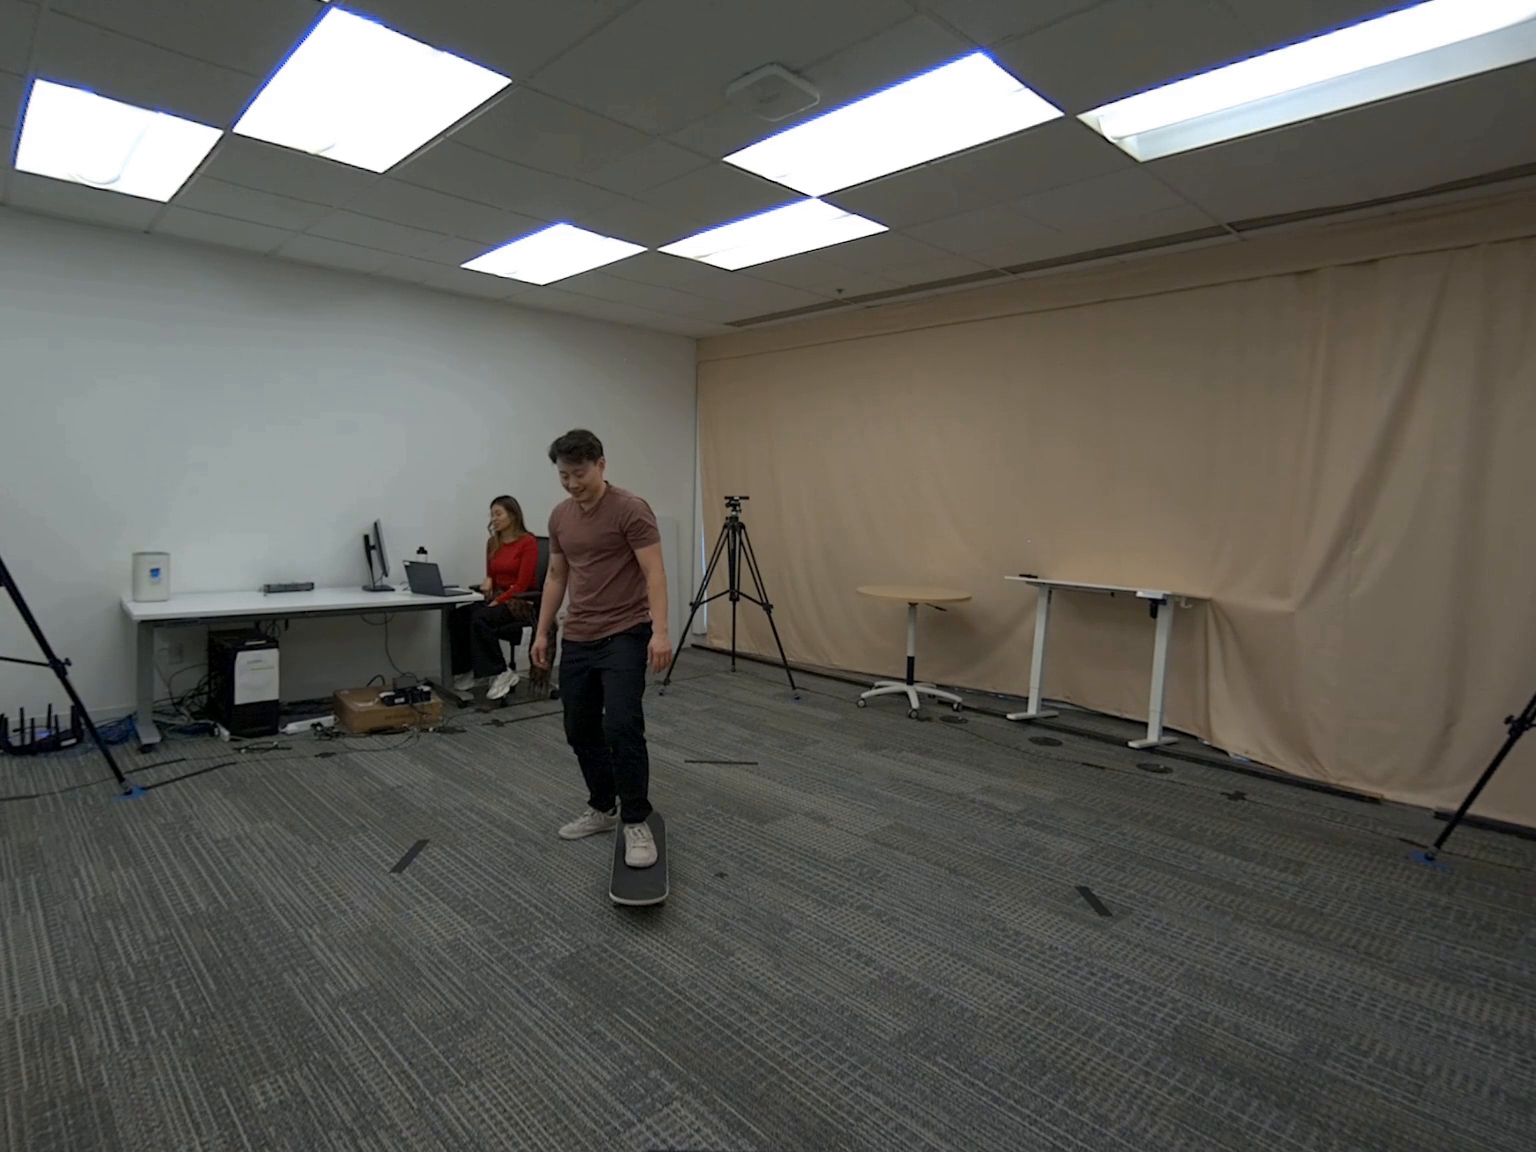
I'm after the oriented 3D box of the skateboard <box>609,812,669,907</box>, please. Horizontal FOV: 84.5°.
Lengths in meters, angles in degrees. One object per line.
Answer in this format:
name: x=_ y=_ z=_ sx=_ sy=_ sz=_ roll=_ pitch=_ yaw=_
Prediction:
skateboard: x=-0.481 y=1.044 z=3.068 sx=0.192 sy=0.110 sz=0.791 roll=1 pitch=6 yaw=-6
